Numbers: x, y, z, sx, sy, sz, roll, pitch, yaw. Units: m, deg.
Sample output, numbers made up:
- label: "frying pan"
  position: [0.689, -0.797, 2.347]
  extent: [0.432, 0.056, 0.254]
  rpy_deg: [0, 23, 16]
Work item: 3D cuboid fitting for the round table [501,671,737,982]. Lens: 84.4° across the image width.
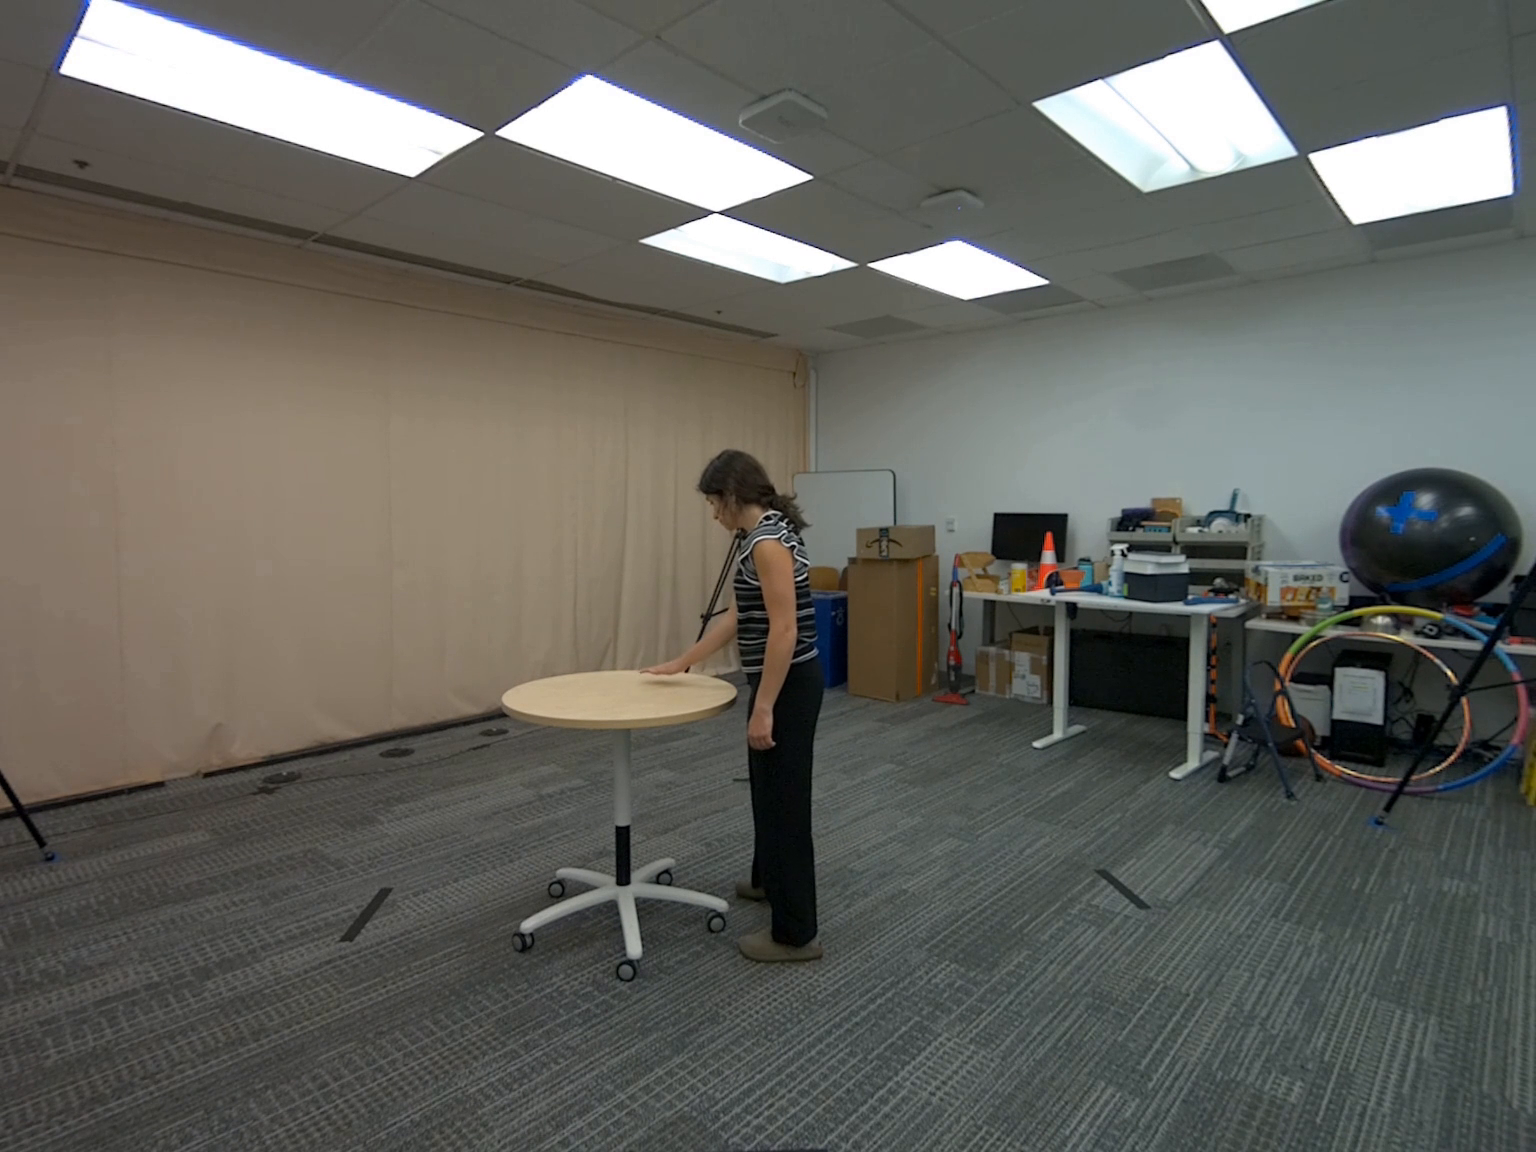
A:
- label: "round table"
  position: [-0.486, 0.778, 2.788]
  extent: [0.763, 0.793, 0.766]
  rpy_deg: [0, 3, -2]
